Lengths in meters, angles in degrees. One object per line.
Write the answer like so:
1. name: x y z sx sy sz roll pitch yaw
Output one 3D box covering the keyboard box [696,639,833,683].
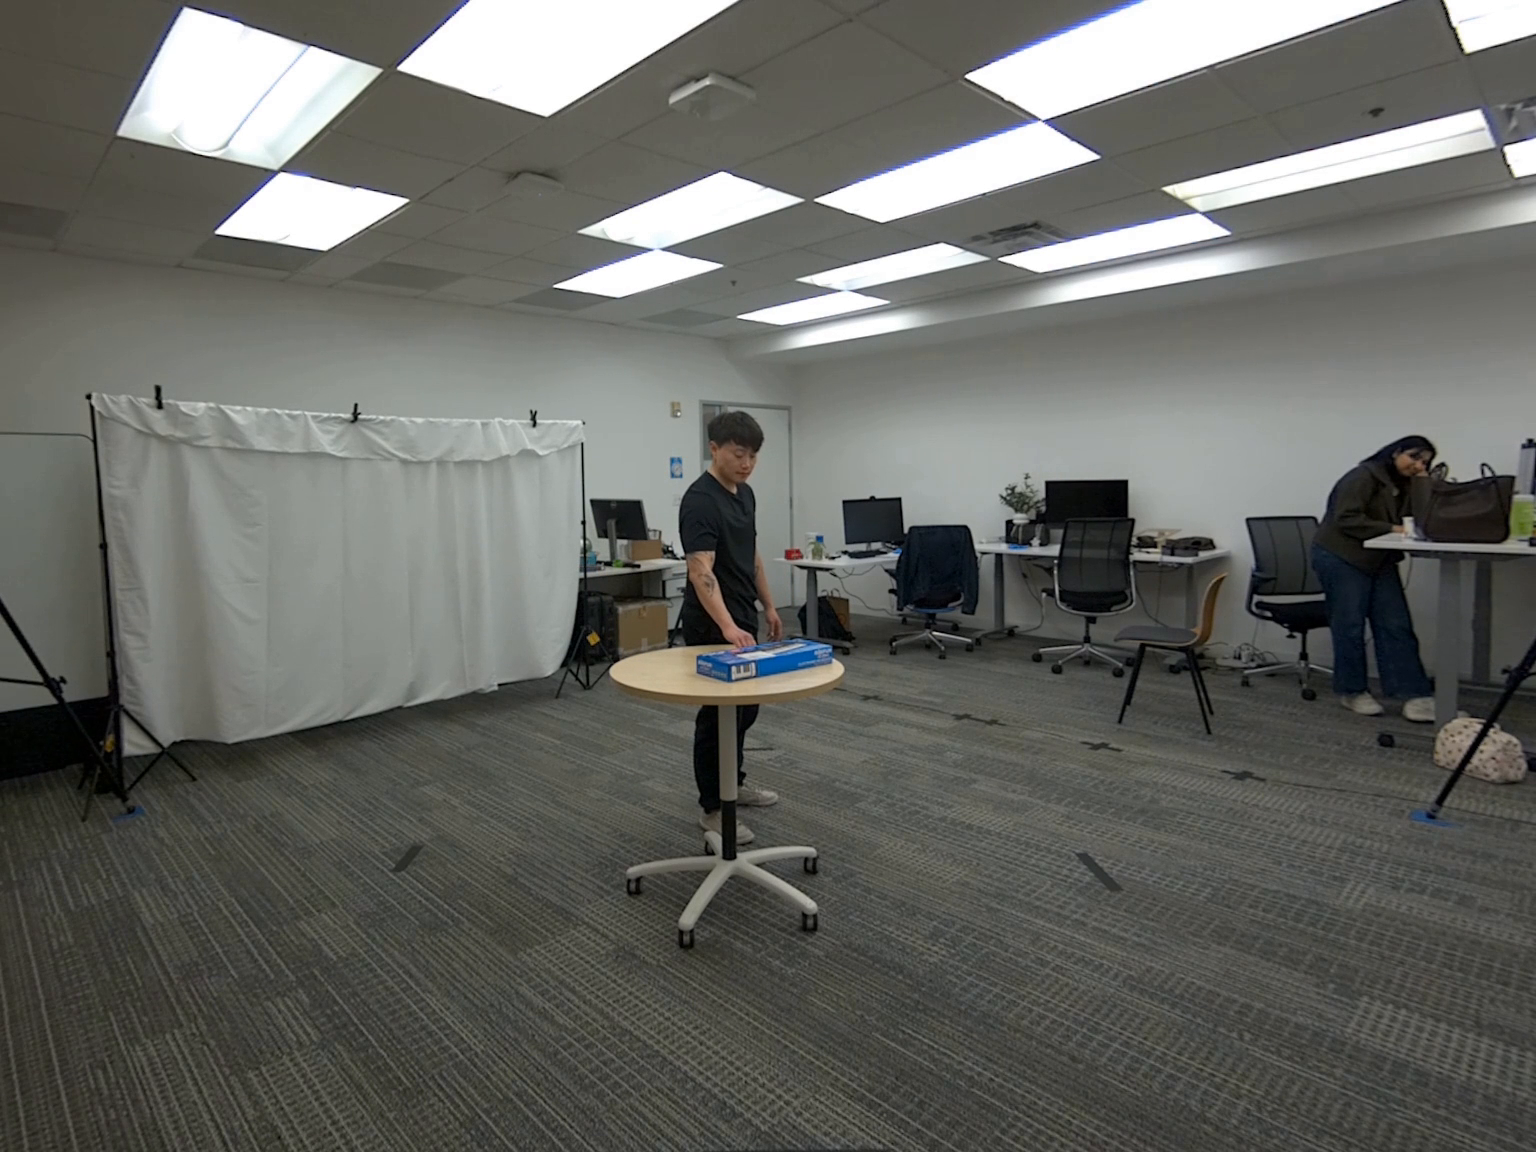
1. keyboard box: 0.000 0.274 2.773 0.426 0.059 0.181 -6 8 -38
